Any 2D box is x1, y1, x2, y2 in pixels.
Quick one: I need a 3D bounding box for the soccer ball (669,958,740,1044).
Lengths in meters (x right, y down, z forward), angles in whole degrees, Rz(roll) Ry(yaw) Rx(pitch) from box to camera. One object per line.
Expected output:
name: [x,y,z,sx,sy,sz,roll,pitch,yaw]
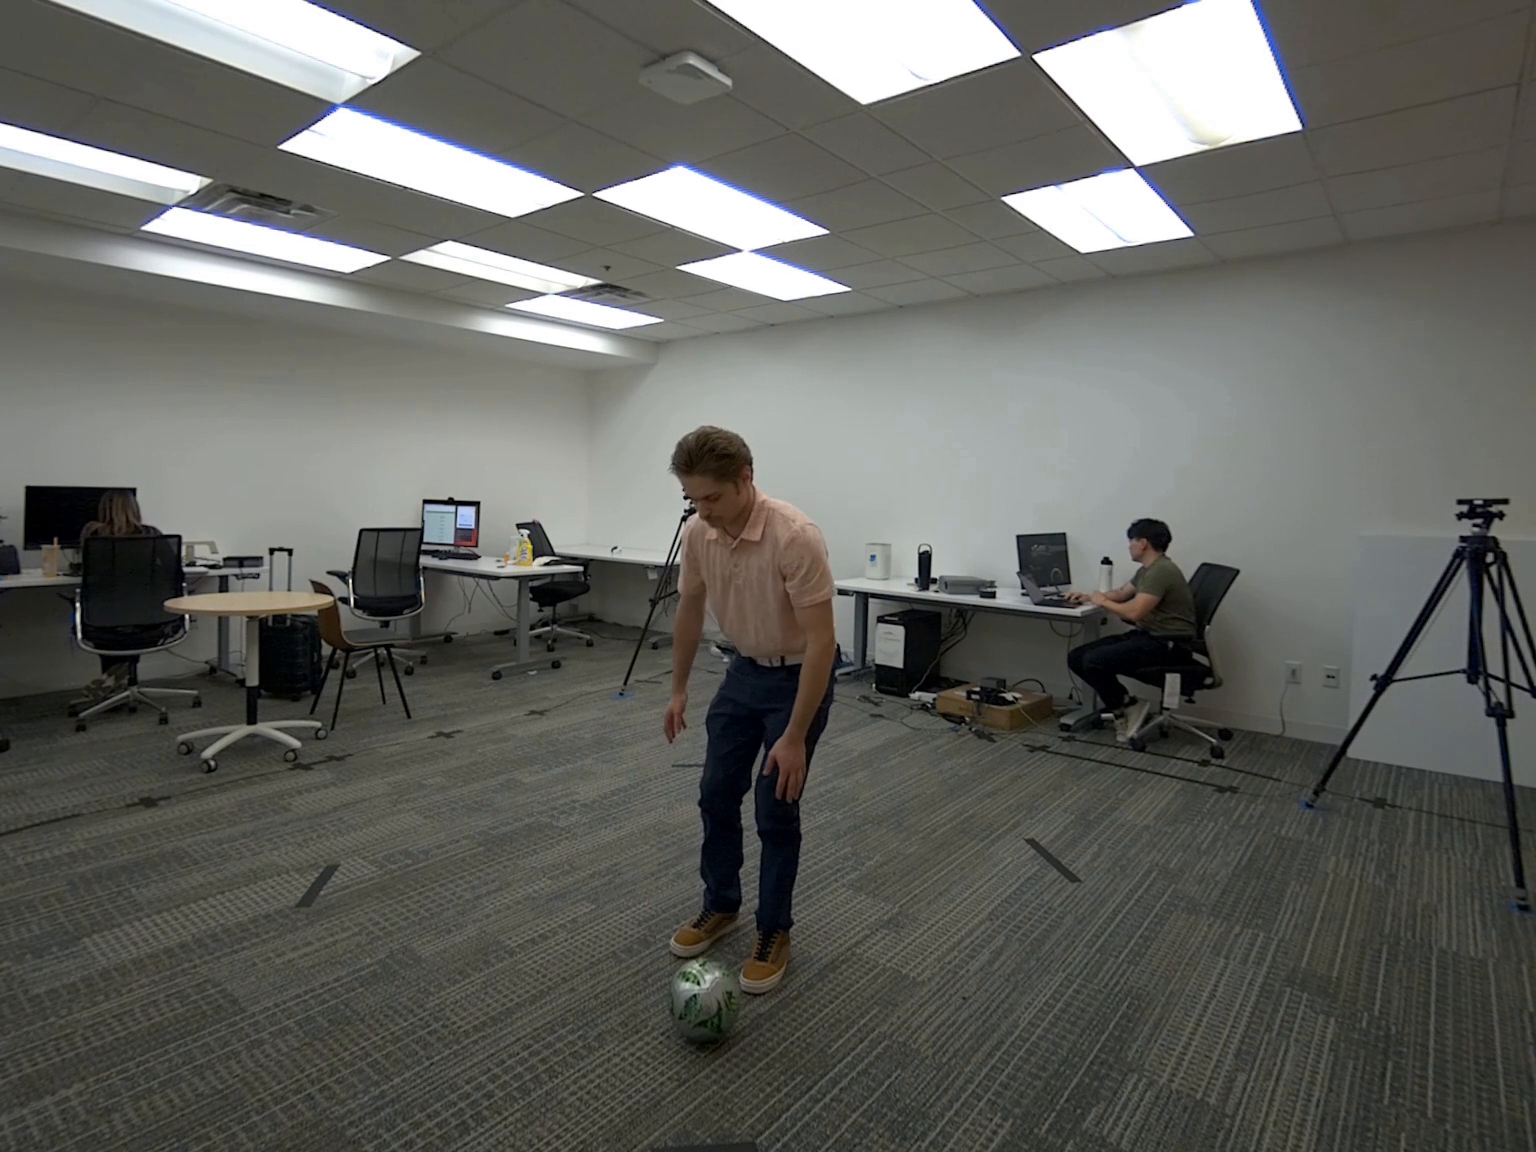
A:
soccer ball: [-0.168,1.074,2.160,0.187,0.187,0.188,1,4,-2]
